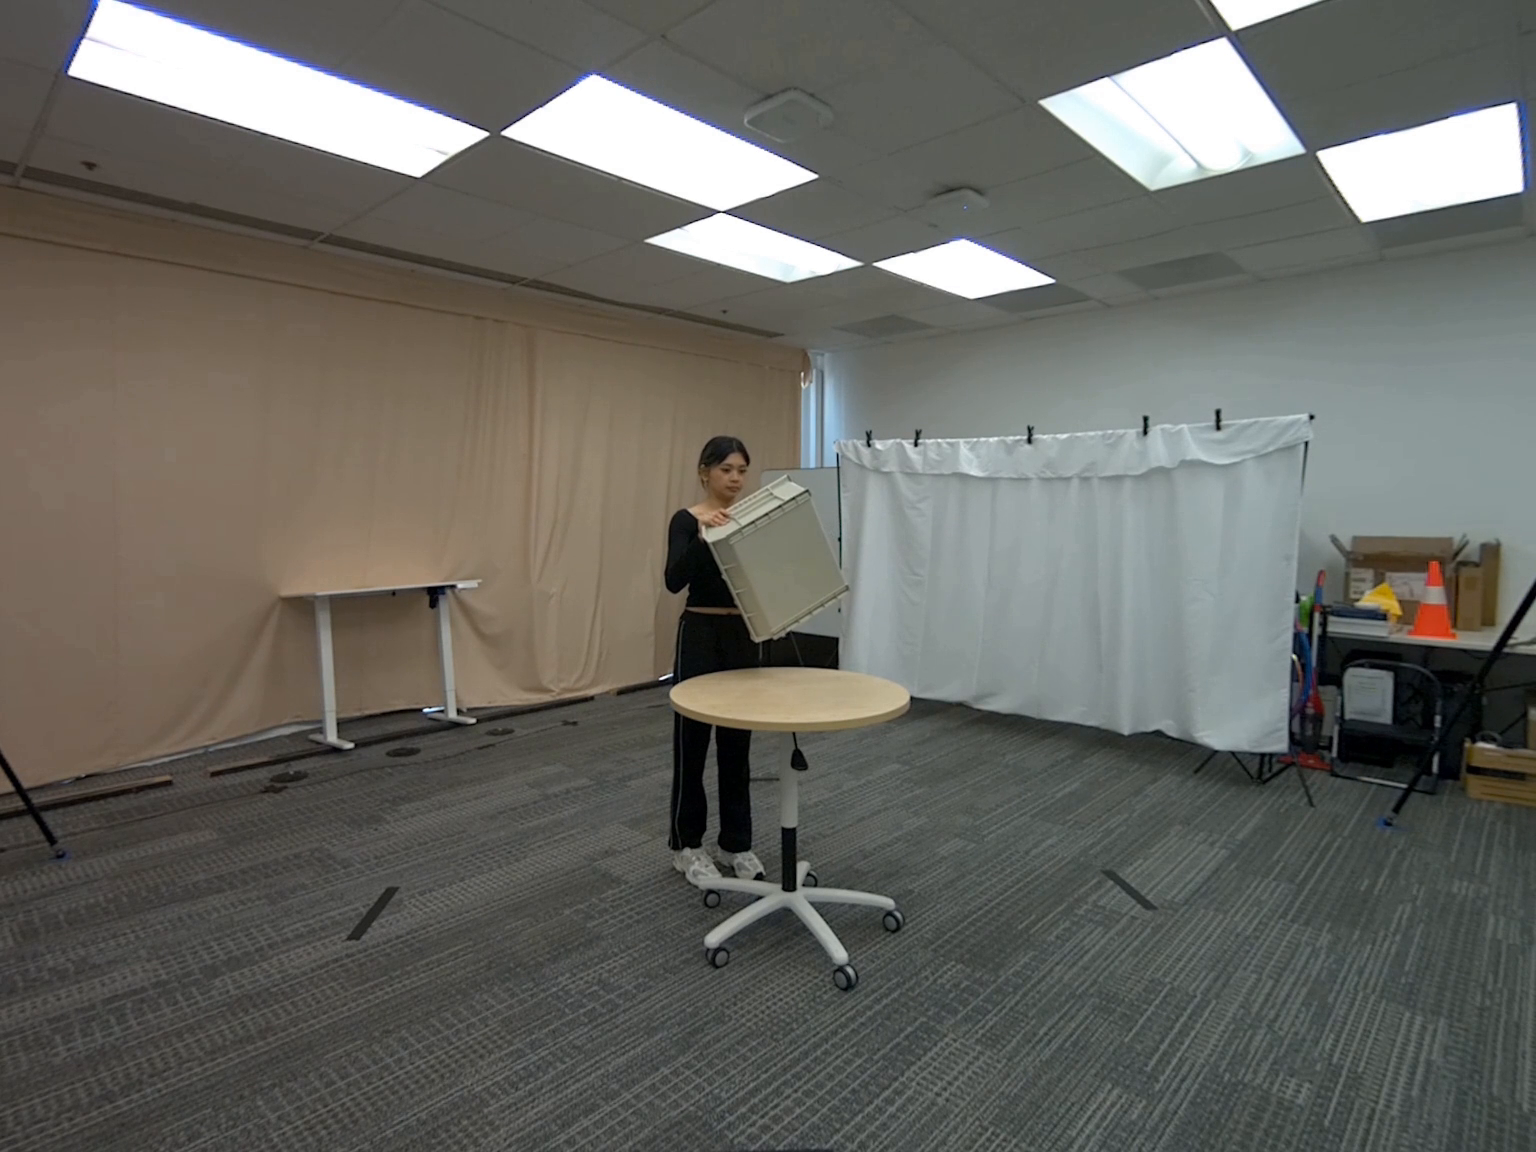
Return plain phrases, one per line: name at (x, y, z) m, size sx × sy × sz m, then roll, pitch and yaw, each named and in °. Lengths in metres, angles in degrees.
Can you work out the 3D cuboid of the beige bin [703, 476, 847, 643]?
beige bin at (0.017, -0.056, 2.830) m, size 0.375 × 0.413 × 0.194 m, roll -30°, pitch 25°, yaw -11°
